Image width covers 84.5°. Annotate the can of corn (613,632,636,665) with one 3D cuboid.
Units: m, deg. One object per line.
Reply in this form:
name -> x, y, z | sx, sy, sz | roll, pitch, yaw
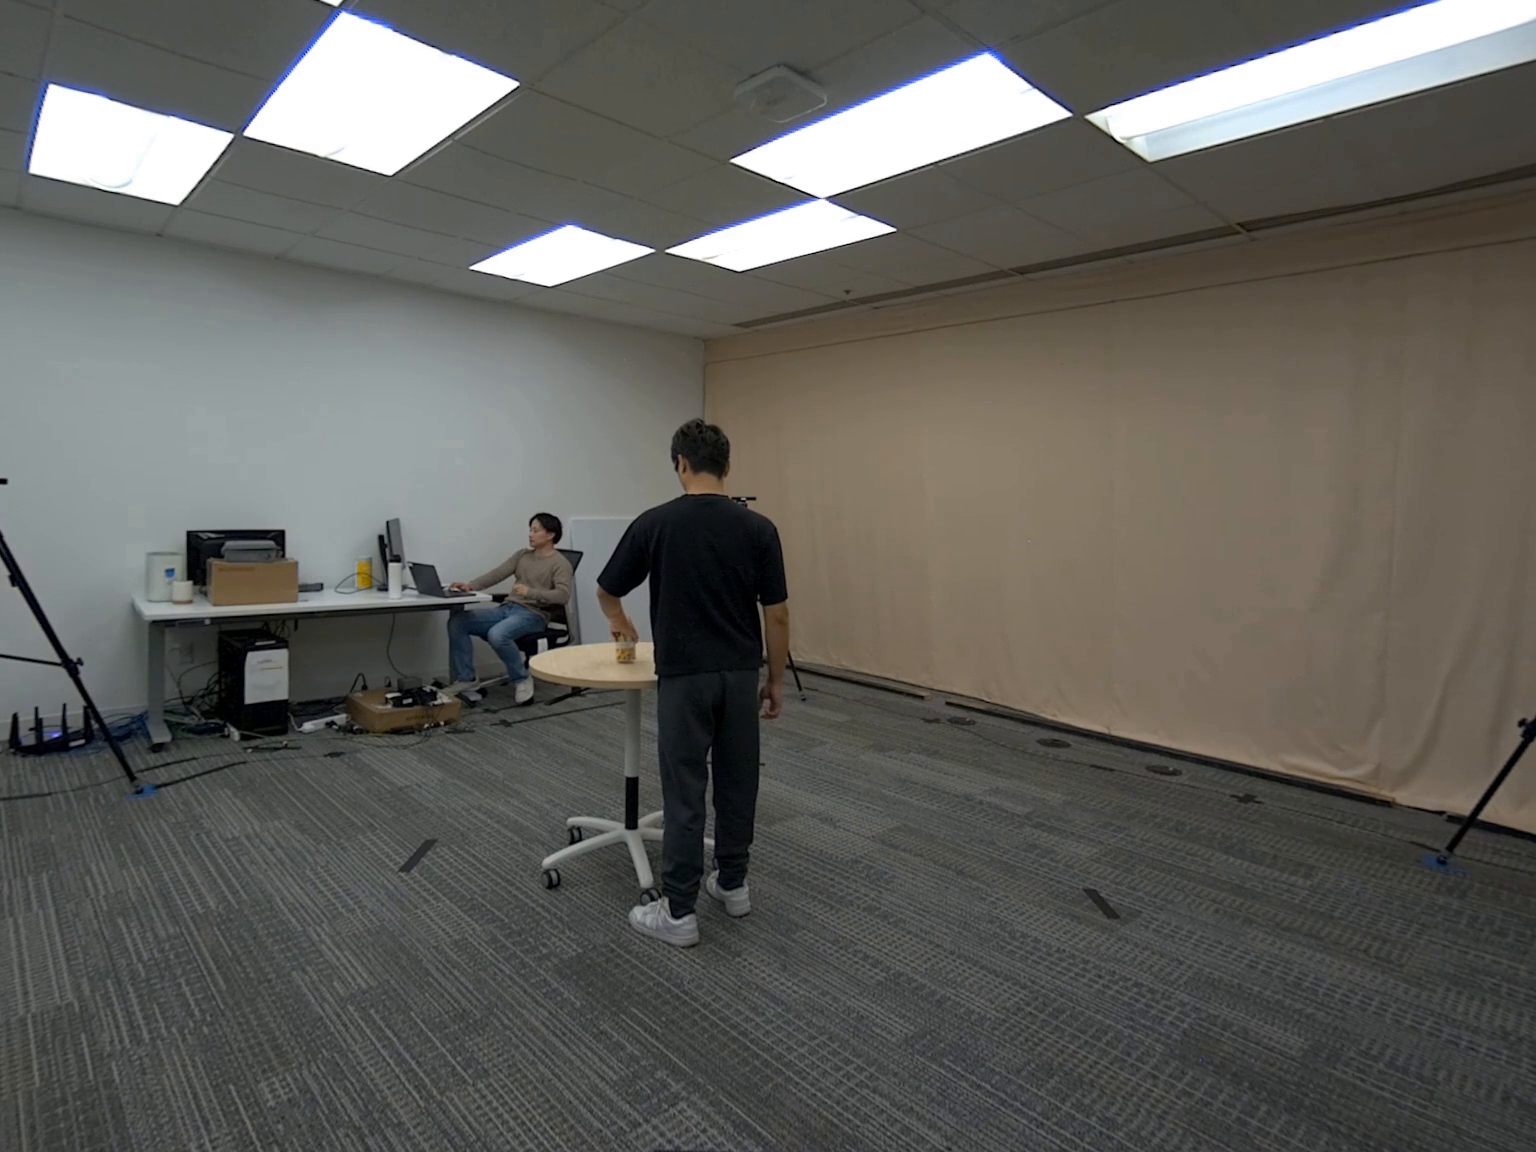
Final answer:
can of corn -> -0.527, 0.252, 3.083 | 0.074, 0.111, 0.074 | -2, 3, -1
